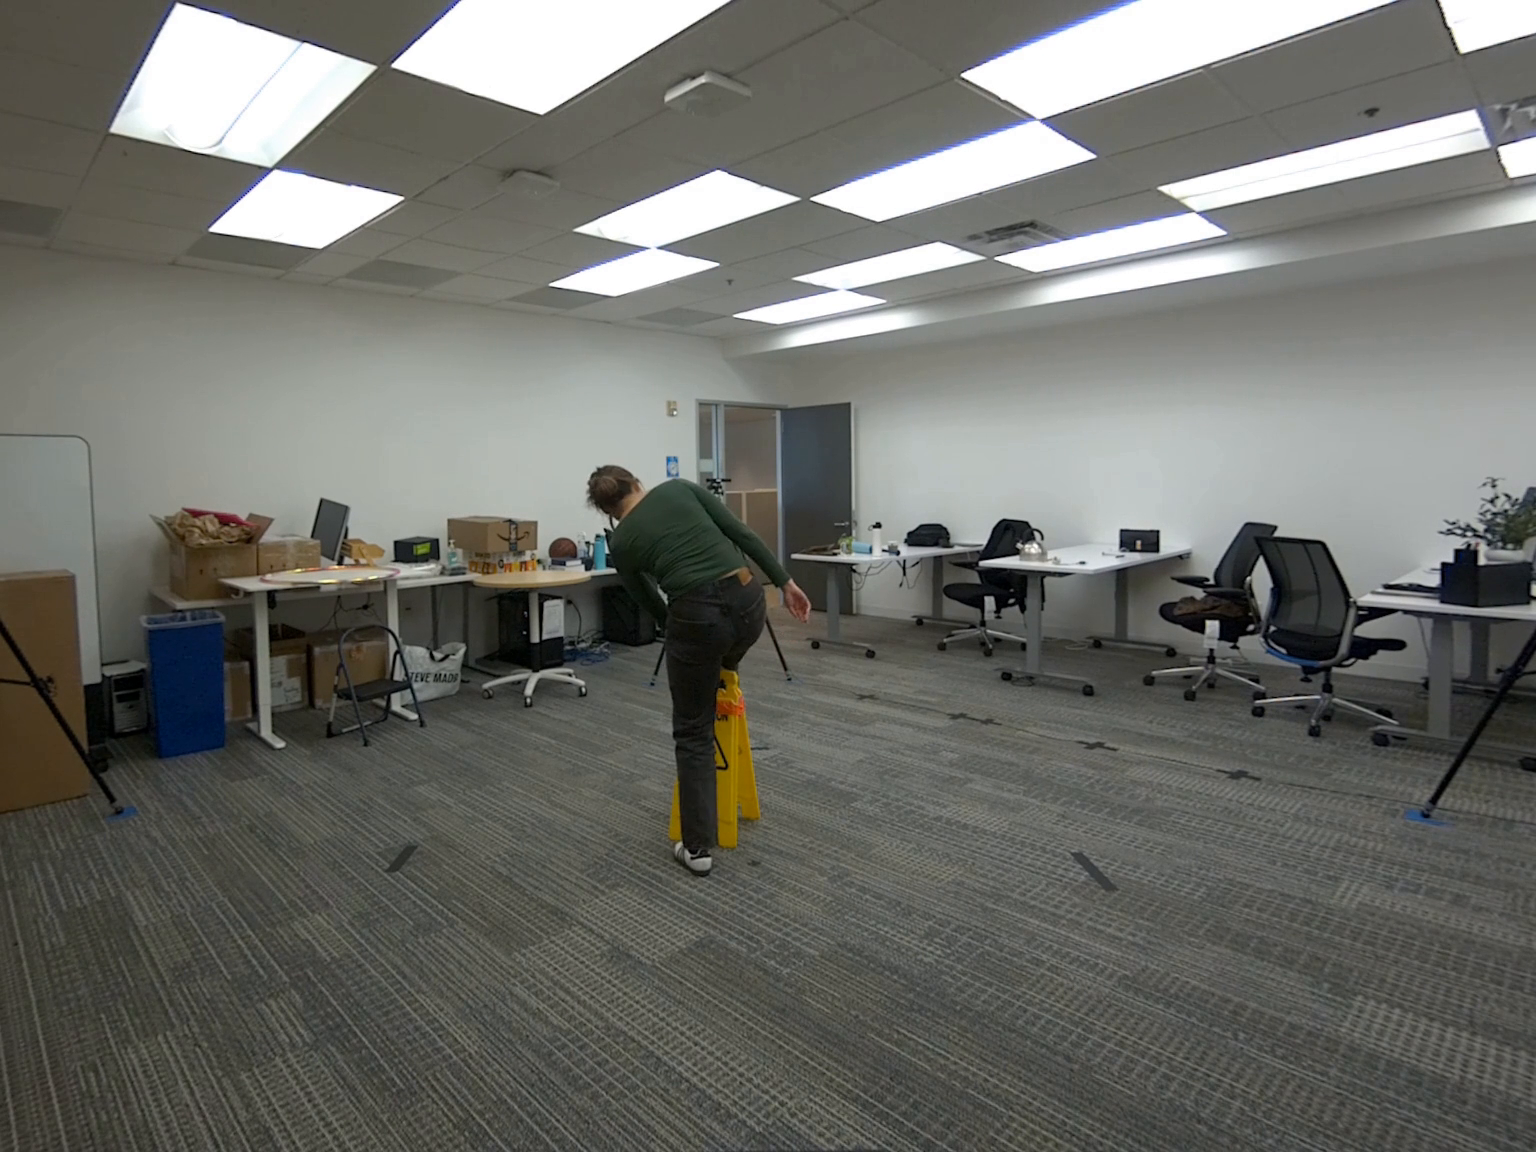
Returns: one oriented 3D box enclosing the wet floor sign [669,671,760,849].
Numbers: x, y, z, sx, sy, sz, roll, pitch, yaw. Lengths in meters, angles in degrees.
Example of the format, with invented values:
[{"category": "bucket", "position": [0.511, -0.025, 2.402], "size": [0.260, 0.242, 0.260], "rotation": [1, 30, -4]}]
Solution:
[{"category": "wet floor sign", "position": [-0.214, 0.688, 3.401], "size": [0.287, 0.644, 0.285], "rotation": [0, 4, 19]}]
